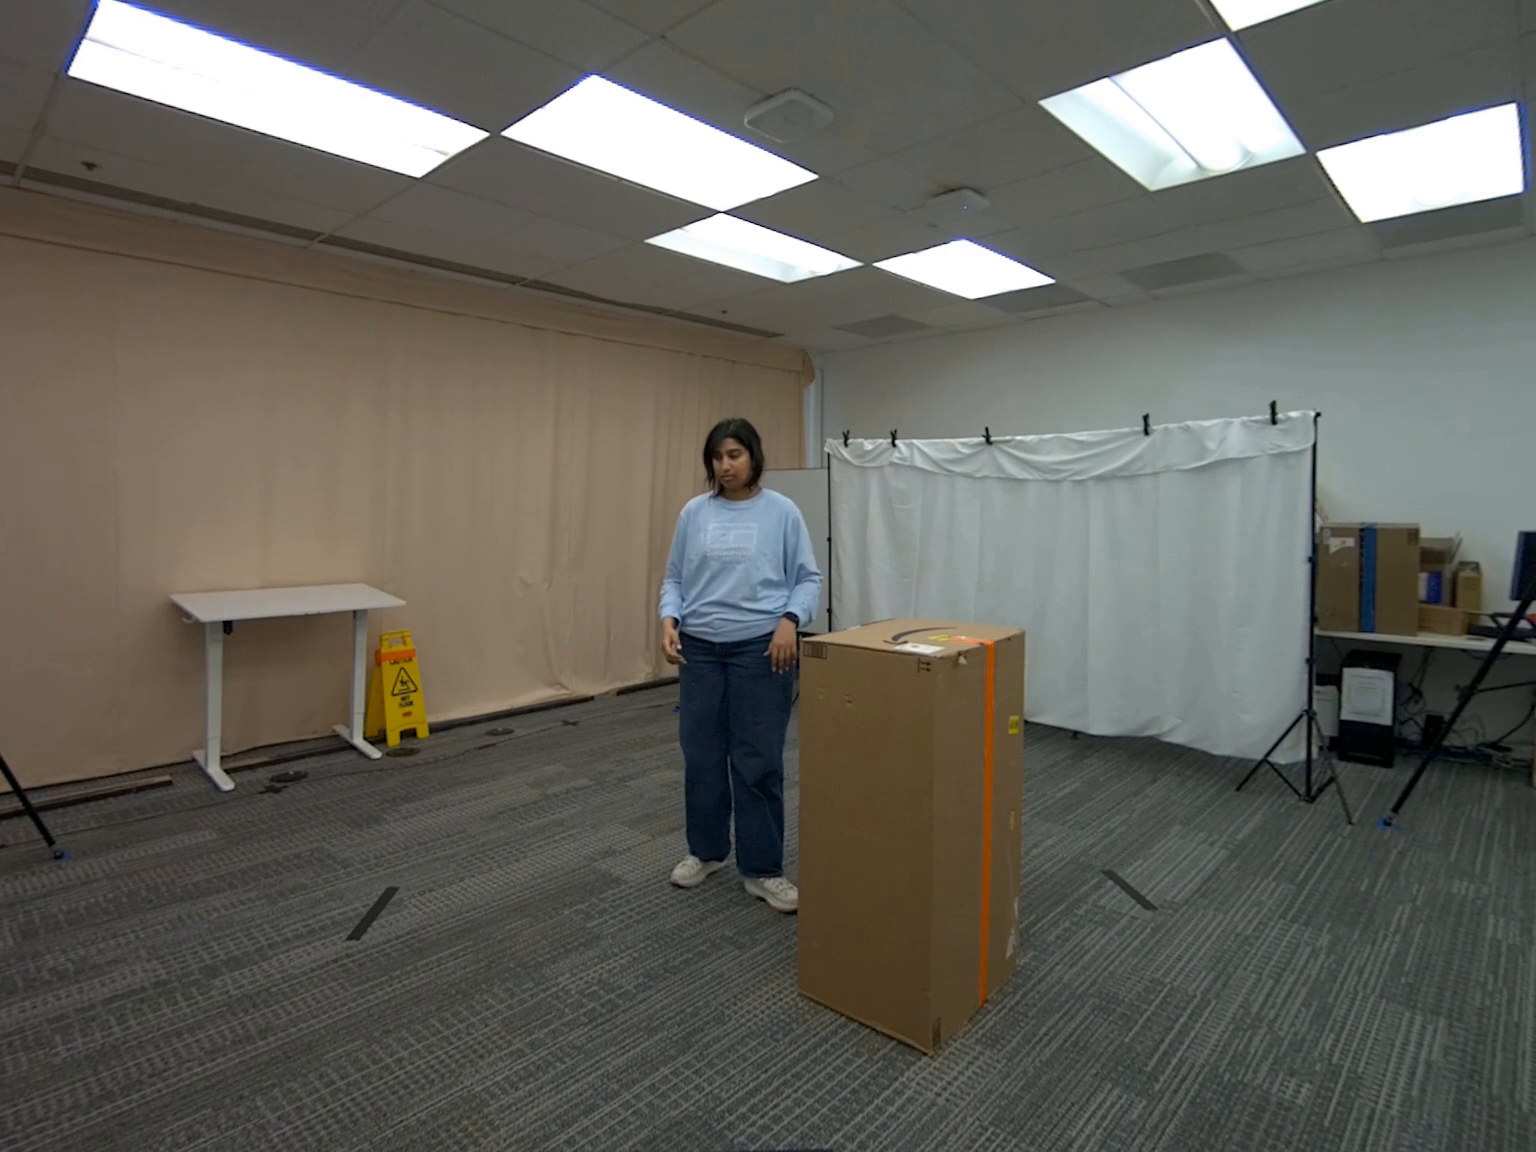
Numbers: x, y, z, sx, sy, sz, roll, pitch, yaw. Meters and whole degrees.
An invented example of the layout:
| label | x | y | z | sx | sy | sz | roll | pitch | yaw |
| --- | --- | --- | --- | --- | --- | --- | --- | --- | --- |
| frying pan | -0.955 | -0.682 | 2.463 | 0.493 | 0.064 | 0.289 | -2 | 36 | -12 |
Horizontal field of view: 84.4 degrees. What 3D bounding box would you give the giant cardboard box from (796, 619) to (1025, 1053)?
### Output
| label | x | y | z | sx | sy | sz | roll | pitch | yaw |
| --- | --- | --- | --- | --- | --- | --- | --- | --- | --- |
| giant cardboard box | 0.435 | 0.677 | 2.445 | 0.462 | 1.025 | 0.566 | 3 | 5 | 41 |
